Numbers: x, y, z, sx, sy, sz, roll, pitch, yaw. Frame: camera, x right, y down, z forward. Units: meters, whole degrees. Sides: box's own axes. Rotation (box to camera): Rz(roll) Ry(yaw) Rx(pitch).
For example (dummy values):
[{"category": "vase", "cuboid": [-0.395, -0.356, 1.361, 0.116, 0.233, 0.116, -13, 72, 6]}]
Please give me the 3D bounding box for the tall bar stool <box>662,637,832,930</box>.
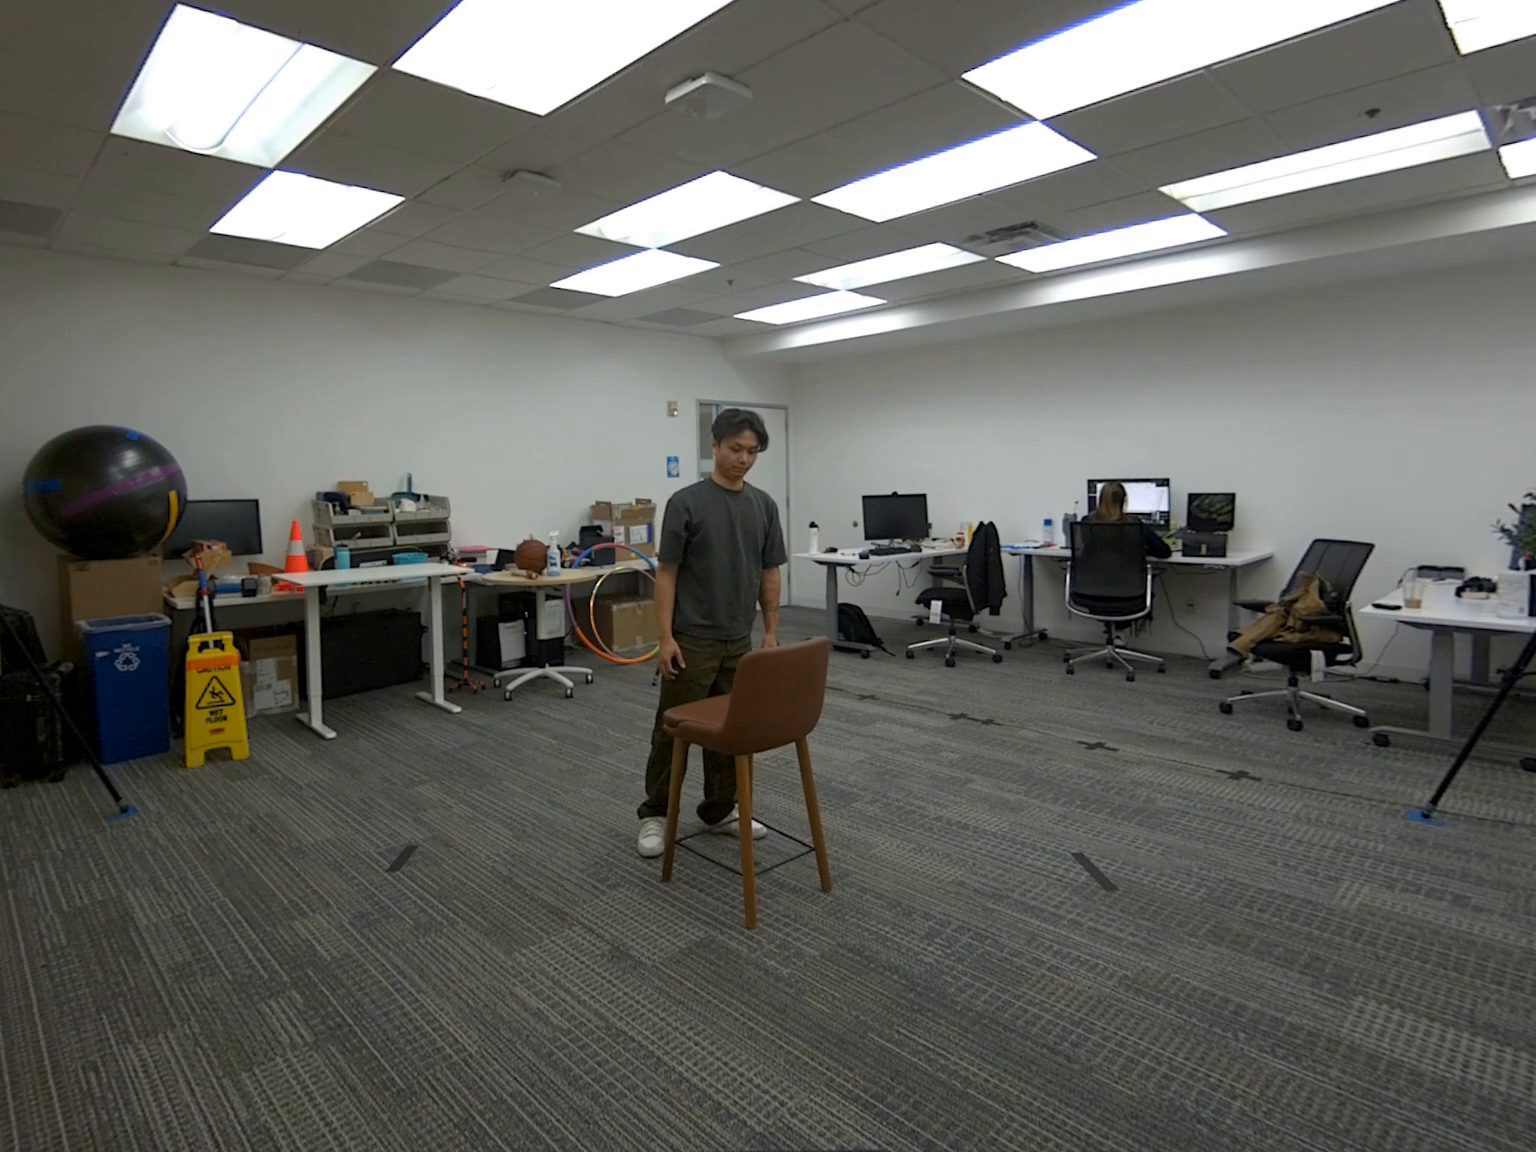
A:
[{"category": "tall bar stool", "cuboid": [-0.070, 0.635, 2.908, 0.444, 0.885, 0.482, -4, 7, -43]}]
